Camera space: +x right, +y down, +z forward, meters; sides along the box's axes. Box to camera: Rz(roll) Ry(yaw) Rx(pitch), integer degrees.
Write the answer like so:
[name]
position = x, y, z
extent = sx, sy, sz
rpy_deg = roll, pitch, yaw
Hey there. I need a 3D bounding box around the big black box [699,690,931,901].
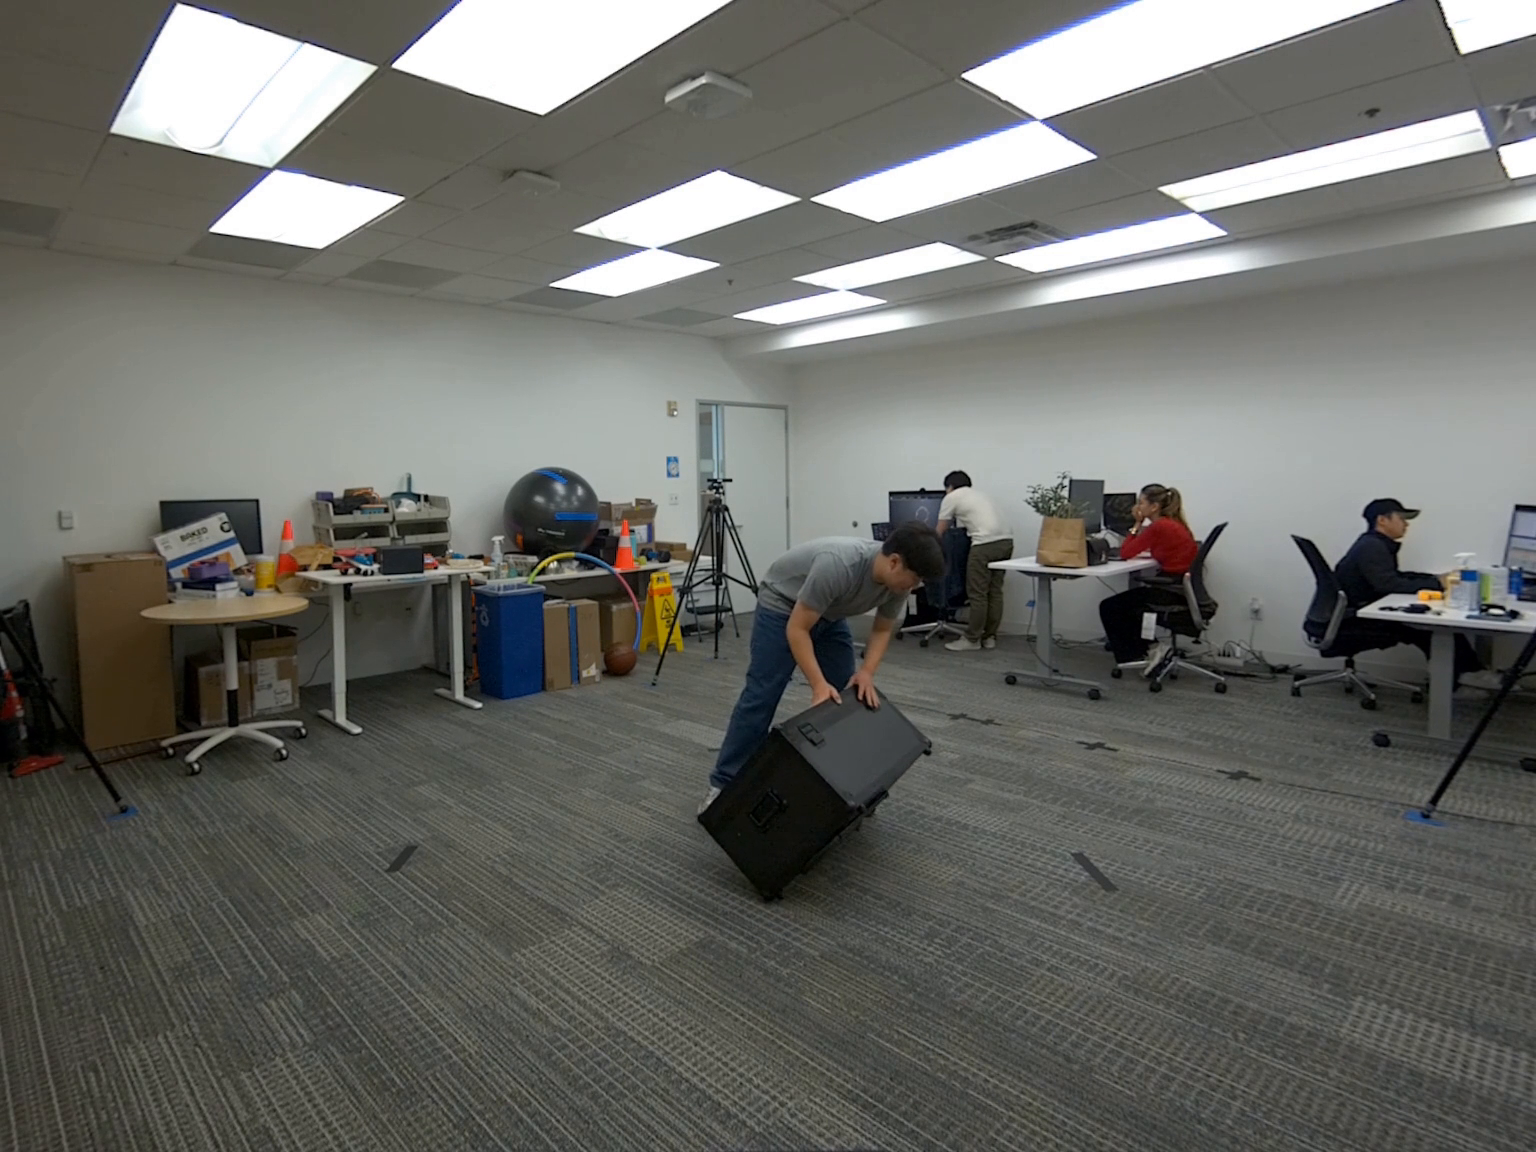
[big black box]
position = 0.224, 0.744, 3.121
extent = 0.406, 0.519, 0.843
rpy_deg = 45, 24, 18
